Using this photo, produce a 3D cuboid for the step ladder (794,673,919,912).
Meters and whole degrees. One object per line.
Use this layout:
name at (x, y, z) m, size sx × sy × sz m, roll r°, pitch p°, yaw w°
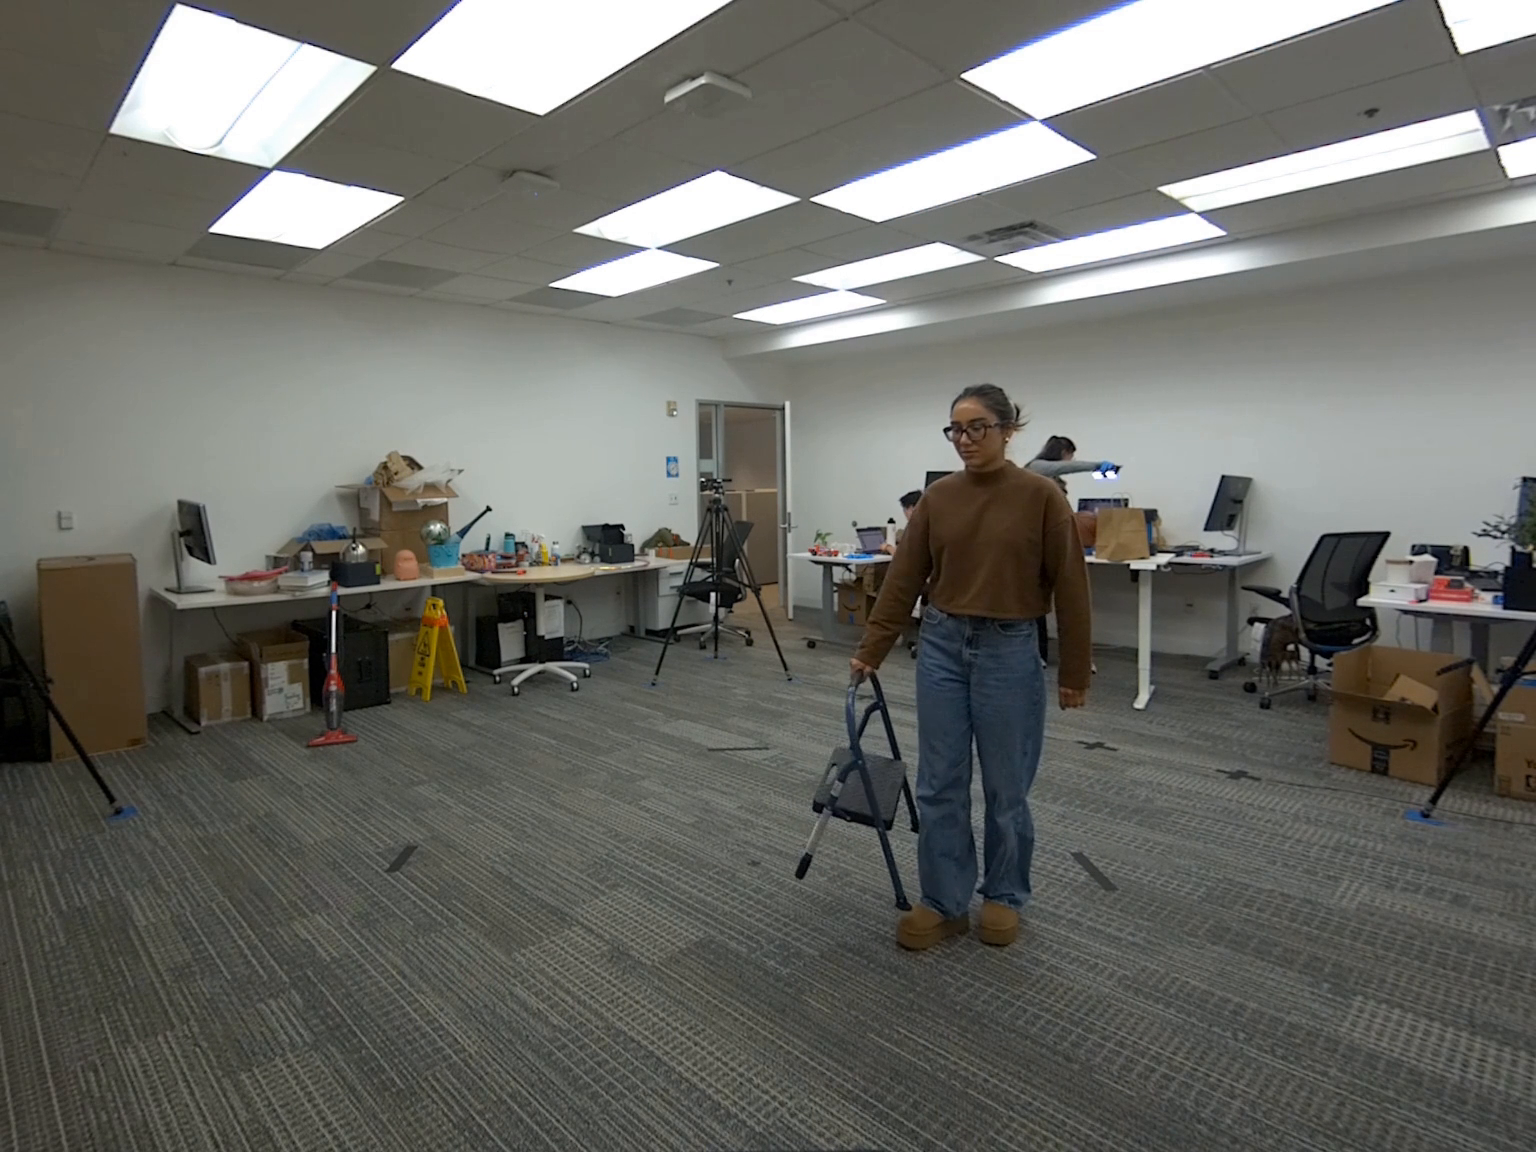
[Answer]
step ladder at (0.335, 0.610, 2.648) m, size 0.355 × 0.598 × 0.430 m, roll 9°, pitch 17°, yaw 13°
